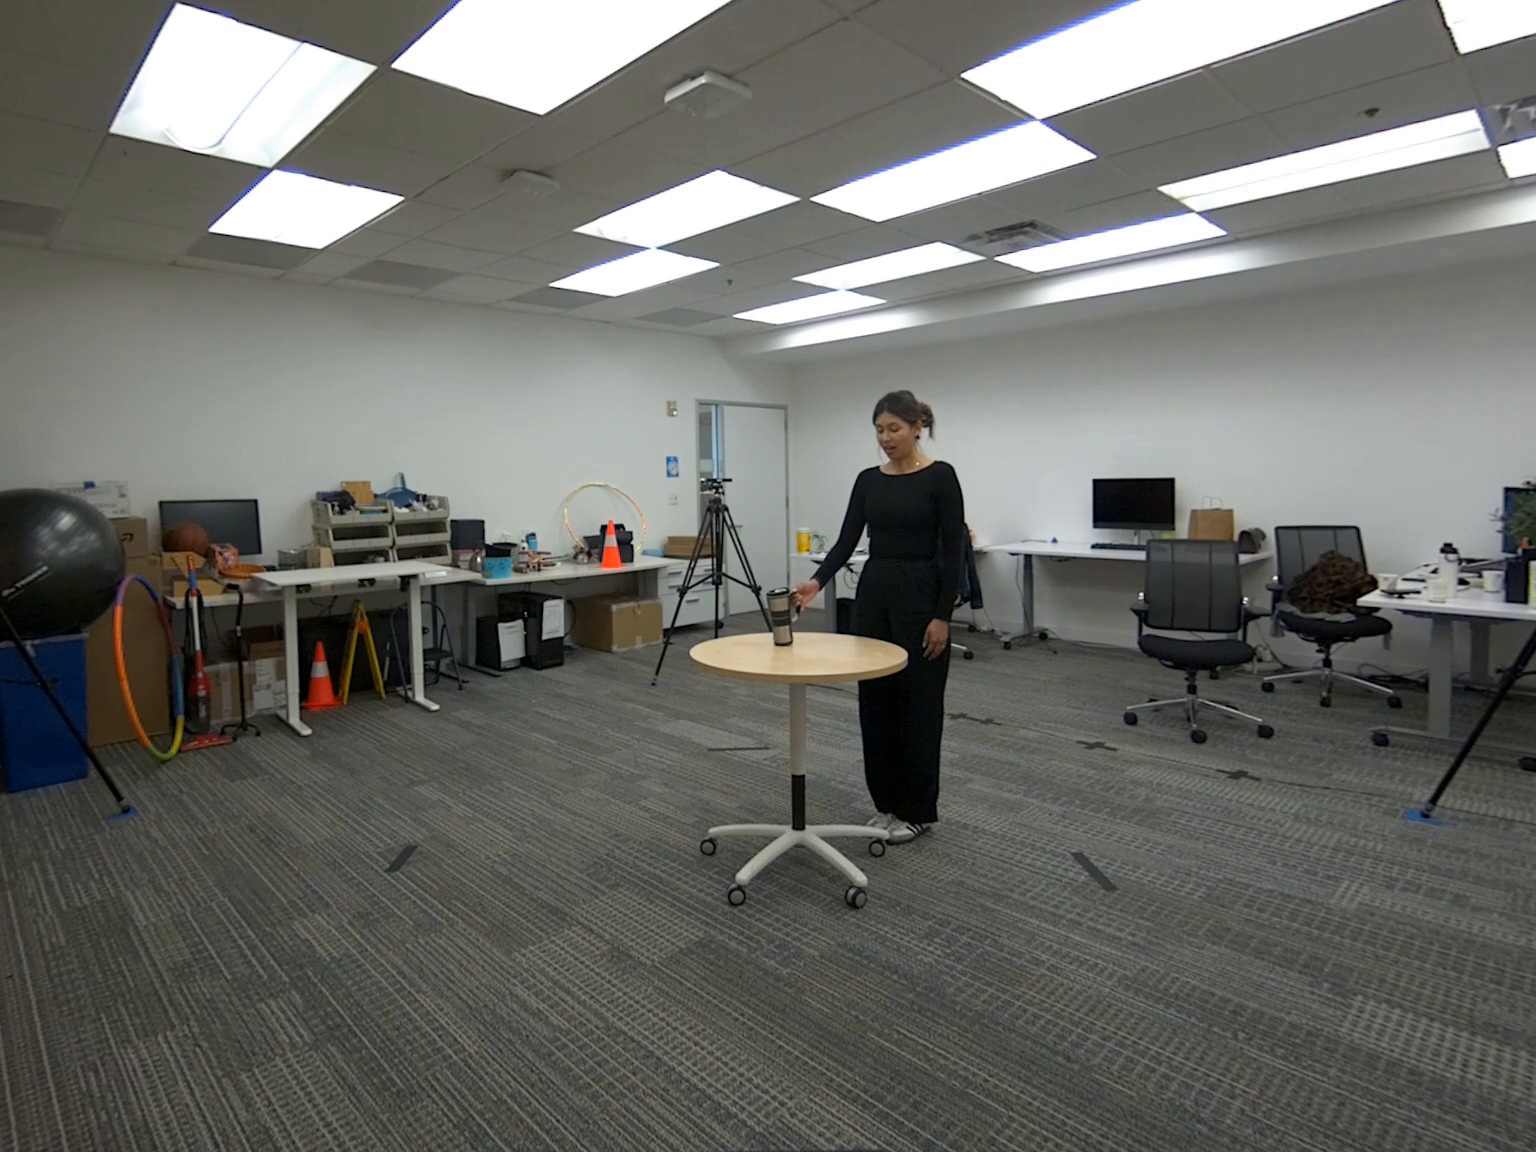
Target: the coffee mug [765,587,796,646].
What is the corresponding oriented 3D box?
[{"bbox_3d":[0.070,0.142,3.122,0.124,0.202,0.086,-5,2,22],"label":"coffee mug"}]
